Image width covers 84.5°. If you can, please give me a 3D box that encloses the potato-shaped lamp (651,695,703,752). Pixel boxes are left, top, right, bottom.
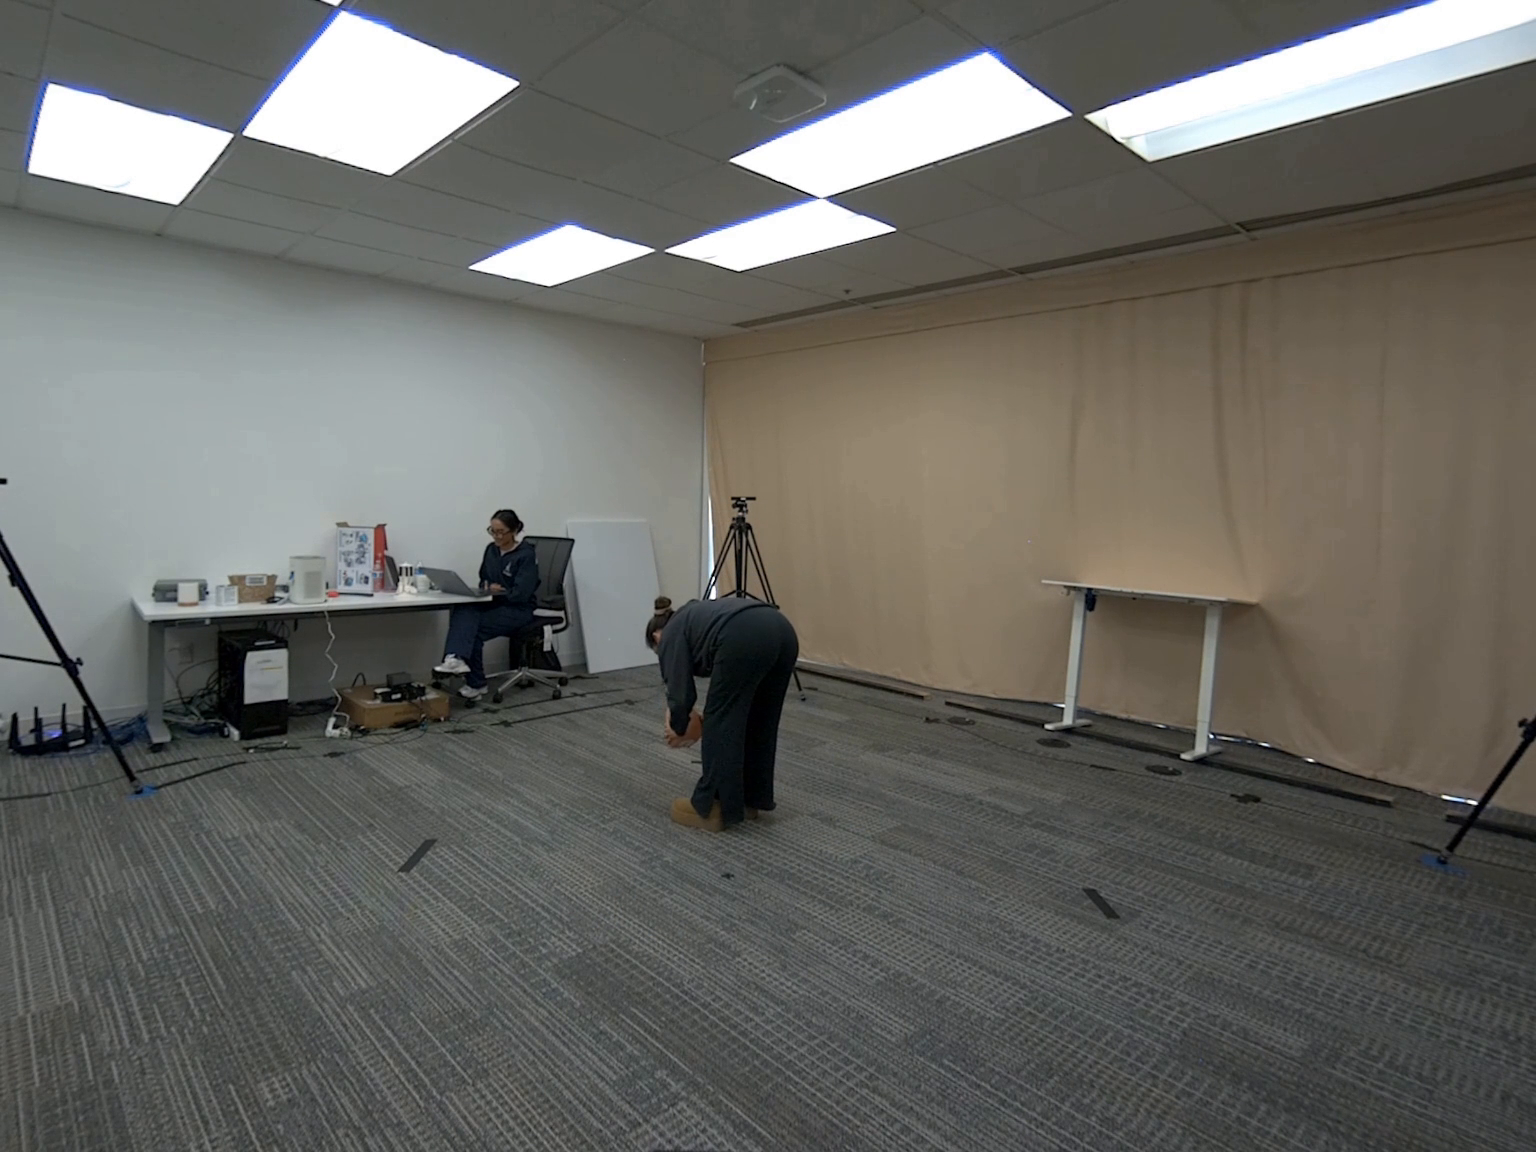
[{"bbox_3d":[-0.401,0.674,3.886,0.160,0.203,0.172,9,-39,-40],"label":"potato-shaped lamp"}]
